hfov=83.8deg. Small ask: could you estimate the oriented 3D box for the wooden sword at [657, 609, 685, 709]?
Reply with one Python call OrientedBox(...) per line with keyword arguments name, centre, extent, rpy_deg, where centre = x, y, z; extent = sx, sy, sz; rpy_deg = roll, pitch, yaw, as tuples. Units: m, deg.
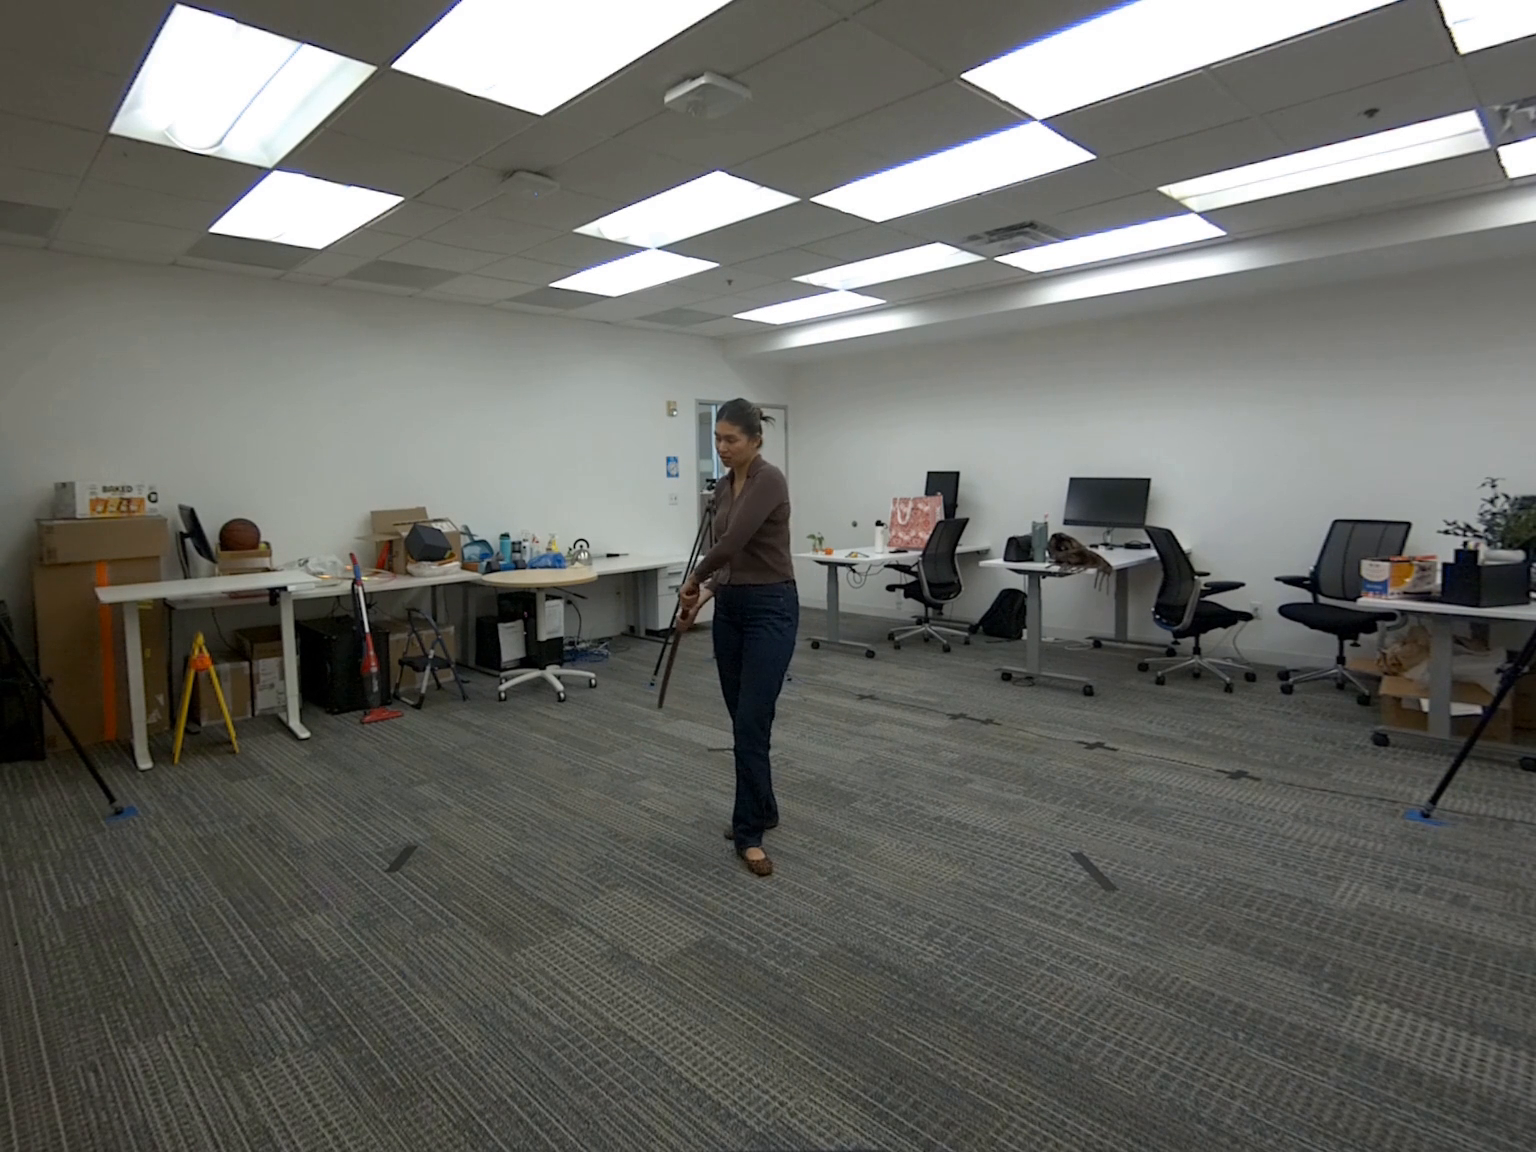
OrientedBox(name="wooden sword", centre=(-0.412, 0.339, 3.616), extent=(0.050, 0.025, 1.005), rpy_deg=(-4, -35, -15))
